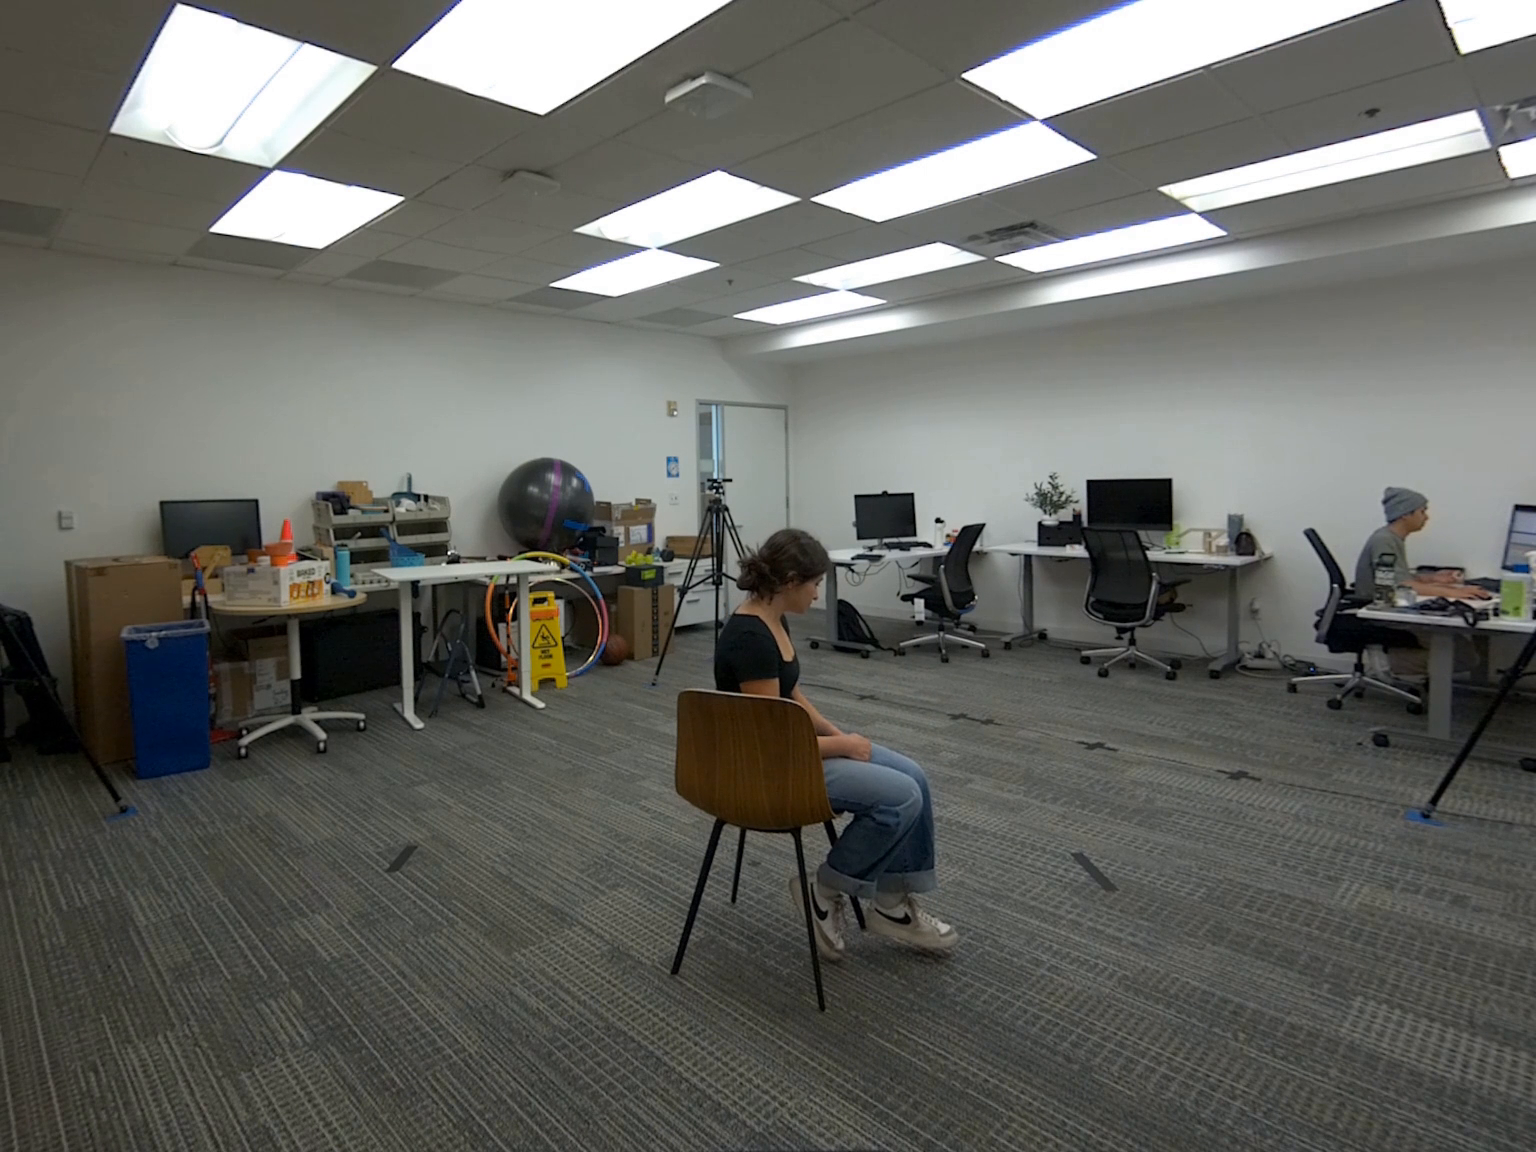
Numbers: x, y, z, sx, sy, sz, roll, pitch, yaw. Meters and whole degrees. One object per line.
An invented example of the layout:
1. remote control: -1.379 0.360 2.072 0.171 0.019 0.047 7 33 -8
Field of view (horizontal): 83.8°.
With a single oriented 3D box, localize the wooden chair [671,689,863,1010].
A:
1. wooden chair: 0.009 0.691 2.510 0.488 0.870 0.516 3 9 22
